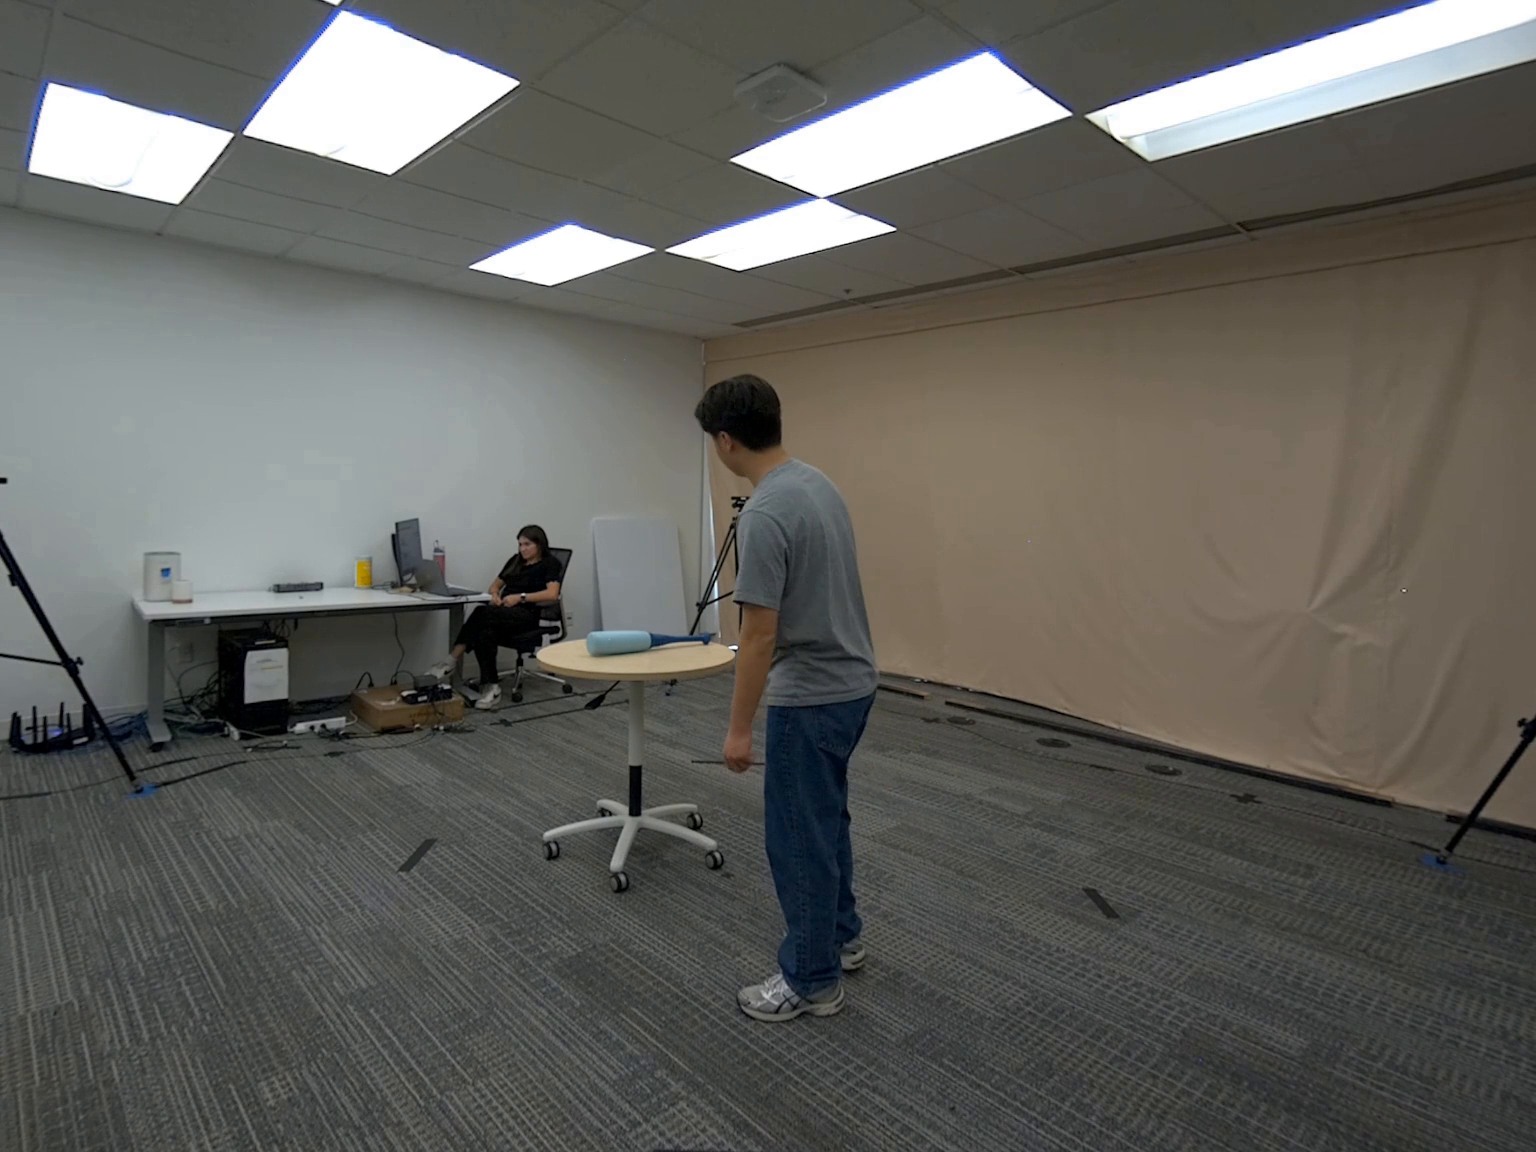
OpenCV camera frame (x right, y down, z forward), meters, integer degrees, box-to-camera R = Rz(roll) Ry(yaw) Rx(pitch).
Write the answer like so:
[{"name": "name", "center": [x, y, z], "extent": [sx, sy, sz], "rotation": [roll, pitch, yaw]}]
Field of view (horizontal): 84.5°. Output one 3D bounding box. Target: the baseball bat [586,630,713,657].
[{"name": "baseball bat", "center": [-0.465, 0.258, 3.325], "extent": [0.530, 0.089, 0.091], "rotation": [1, 4, -36]}]
